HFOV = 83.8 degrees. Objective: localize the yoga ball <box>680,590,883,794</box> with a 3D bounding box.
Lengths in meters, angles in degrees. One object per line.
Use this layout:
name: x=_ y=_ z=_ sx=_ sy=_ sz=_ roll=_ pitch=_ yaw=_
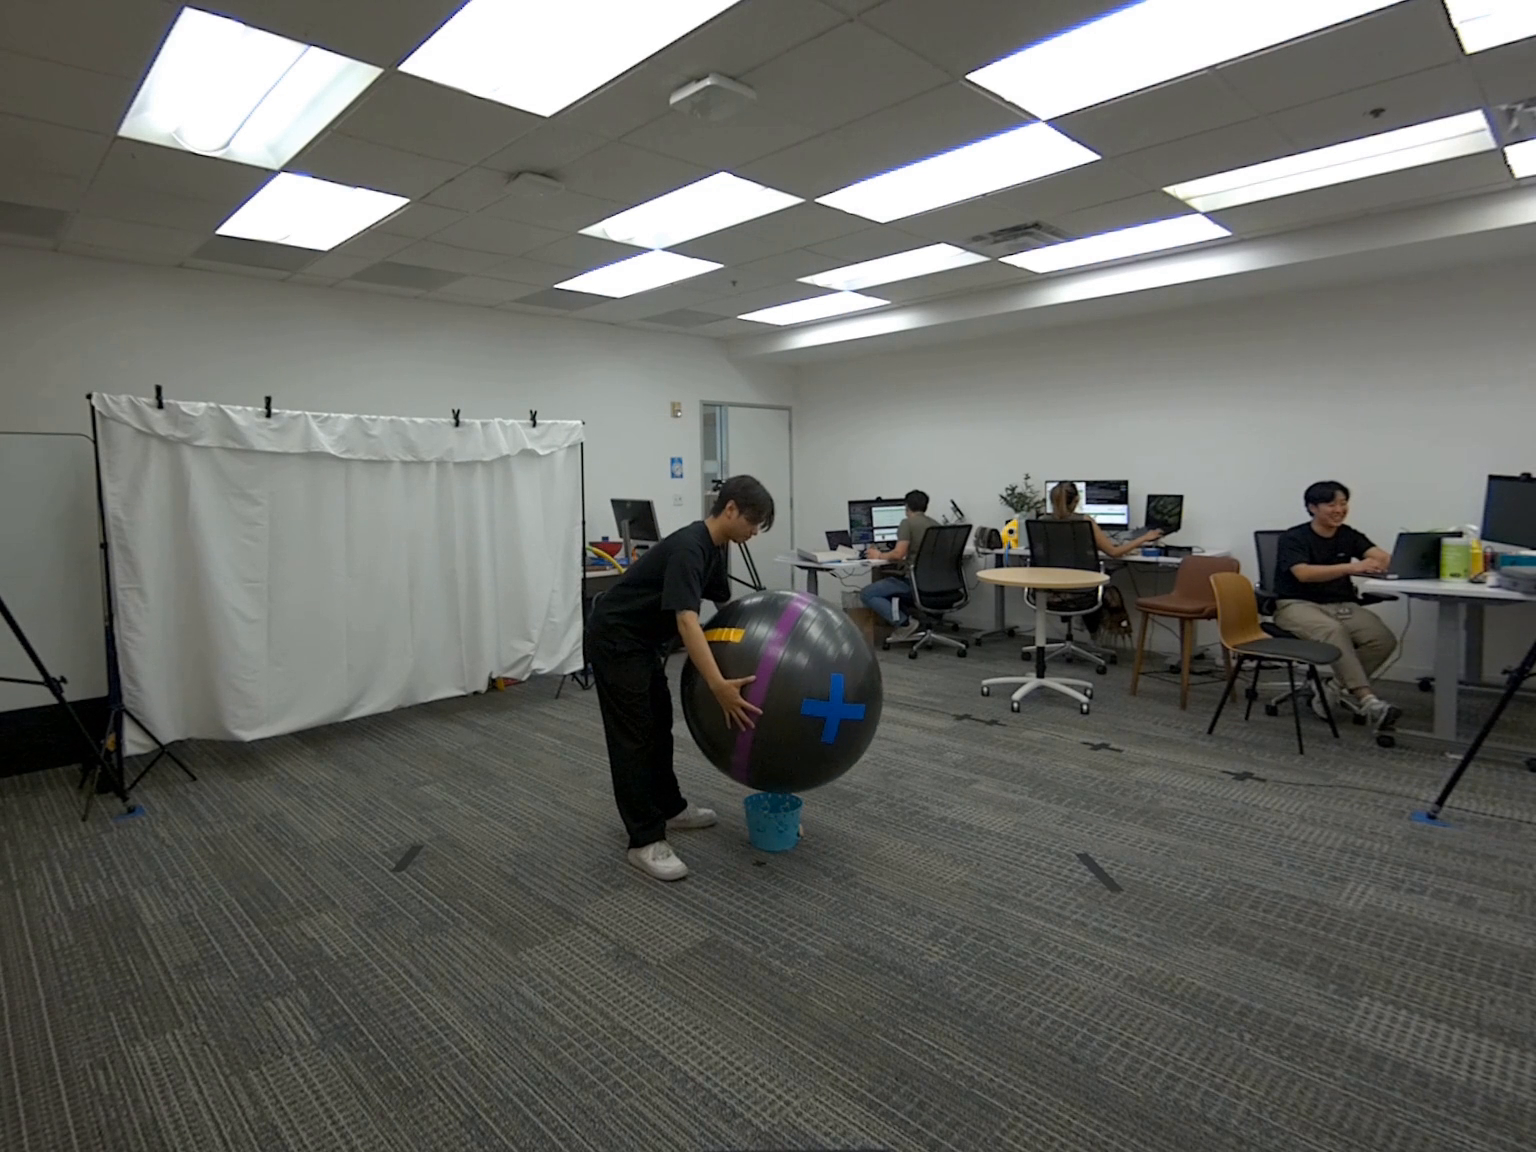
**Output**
yoga ball: x=0.049 y=0.431 z=3.234 sx=0.757 sy=0.755 sz=0.762 roll=-1 pitch=5 yaw=-2
